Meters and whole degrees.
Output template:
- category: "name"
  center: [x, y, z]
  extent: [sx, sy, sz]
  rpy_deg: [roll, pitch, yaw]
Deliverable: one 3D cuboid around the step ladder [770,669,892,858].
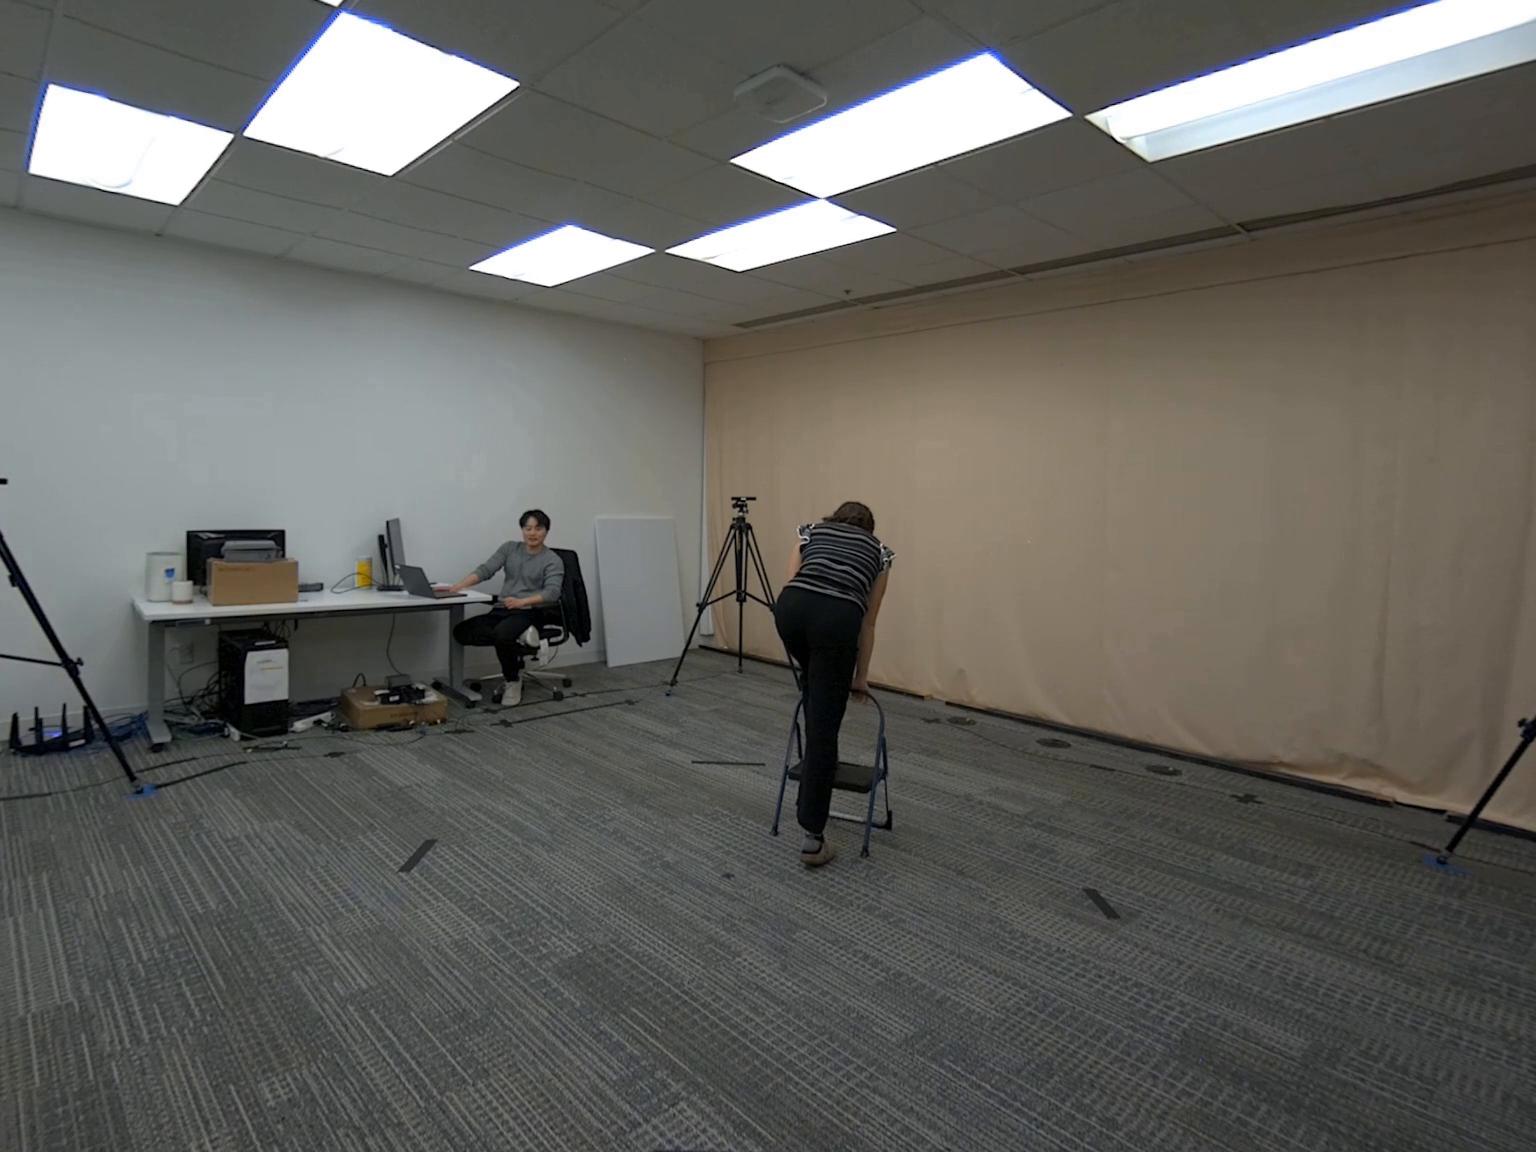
- category: "step ladder"
  center: [0.276, 0.778, 3.535]
  extent: [0.439, 0.605, 0.343]
  rpy_deg: [3, 3, 27]
